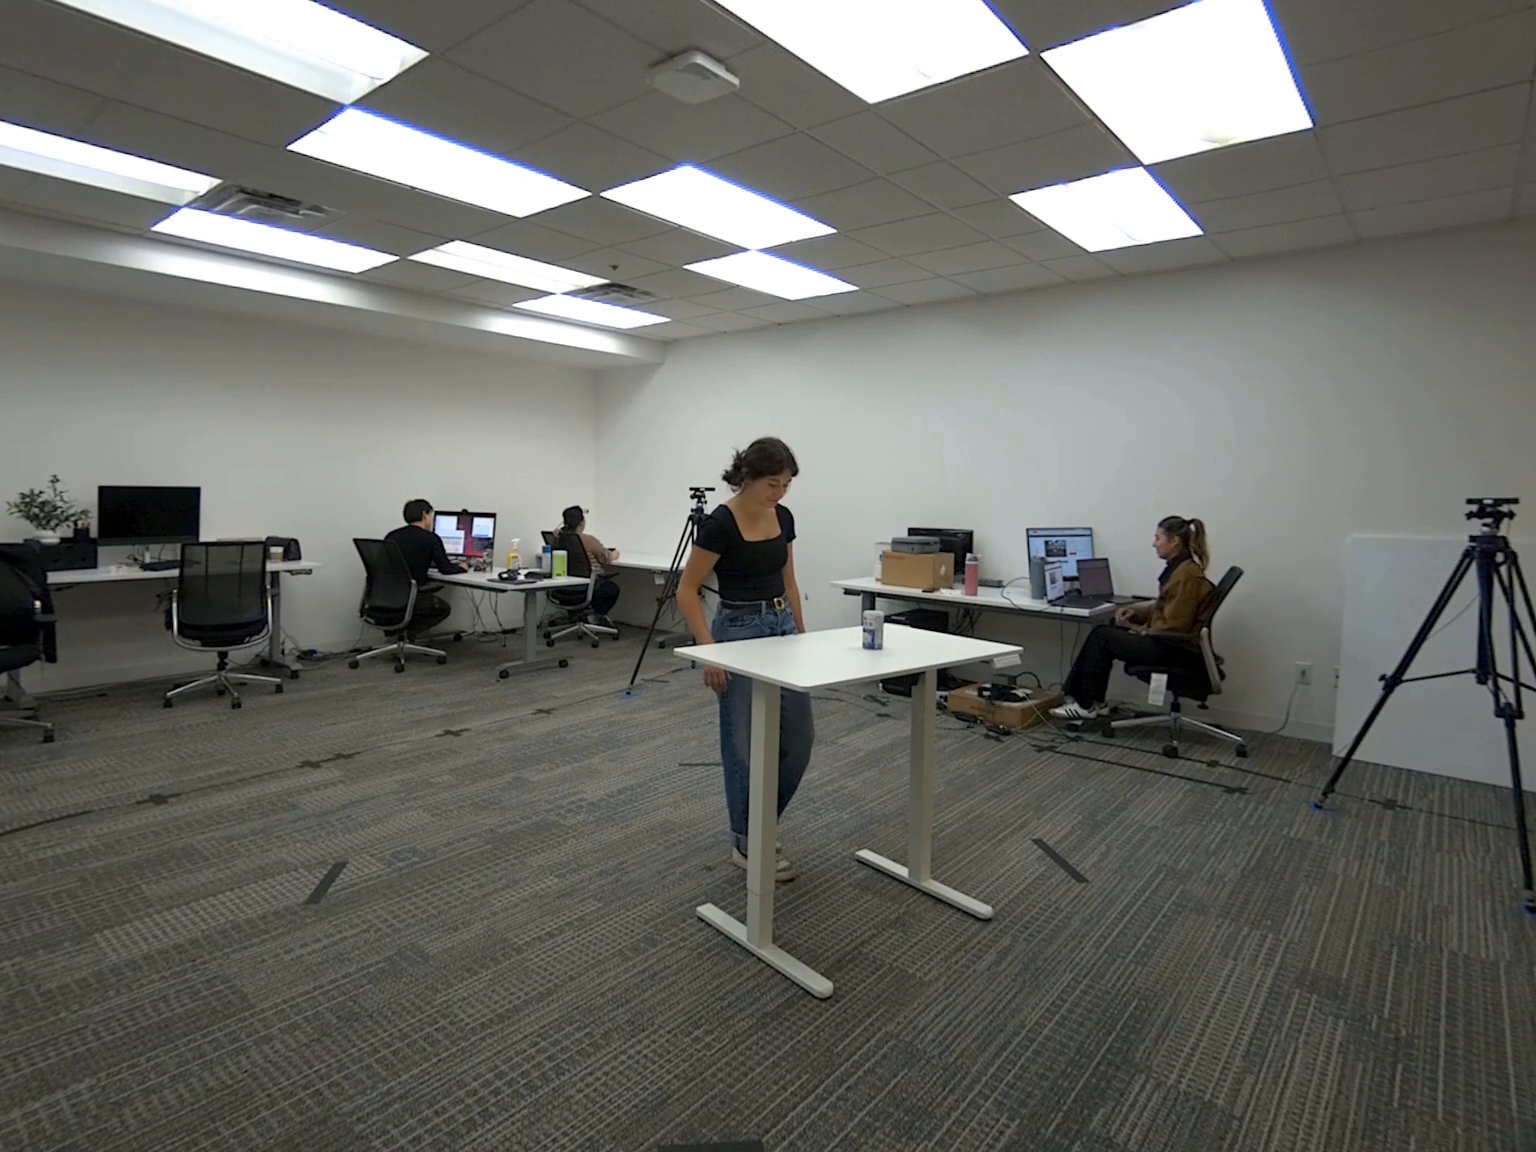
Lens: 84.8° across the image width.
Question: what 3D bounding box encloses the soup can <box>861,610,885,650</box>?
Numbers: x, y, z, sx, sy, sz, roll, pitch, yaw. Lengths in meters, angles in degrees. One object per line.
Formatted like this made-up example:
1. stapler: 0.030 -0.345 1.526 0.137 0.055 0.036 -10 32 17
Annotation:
1. soup can: 0.335 0.174 2.748 0.067 0.121 0.067 -2 4 -2
